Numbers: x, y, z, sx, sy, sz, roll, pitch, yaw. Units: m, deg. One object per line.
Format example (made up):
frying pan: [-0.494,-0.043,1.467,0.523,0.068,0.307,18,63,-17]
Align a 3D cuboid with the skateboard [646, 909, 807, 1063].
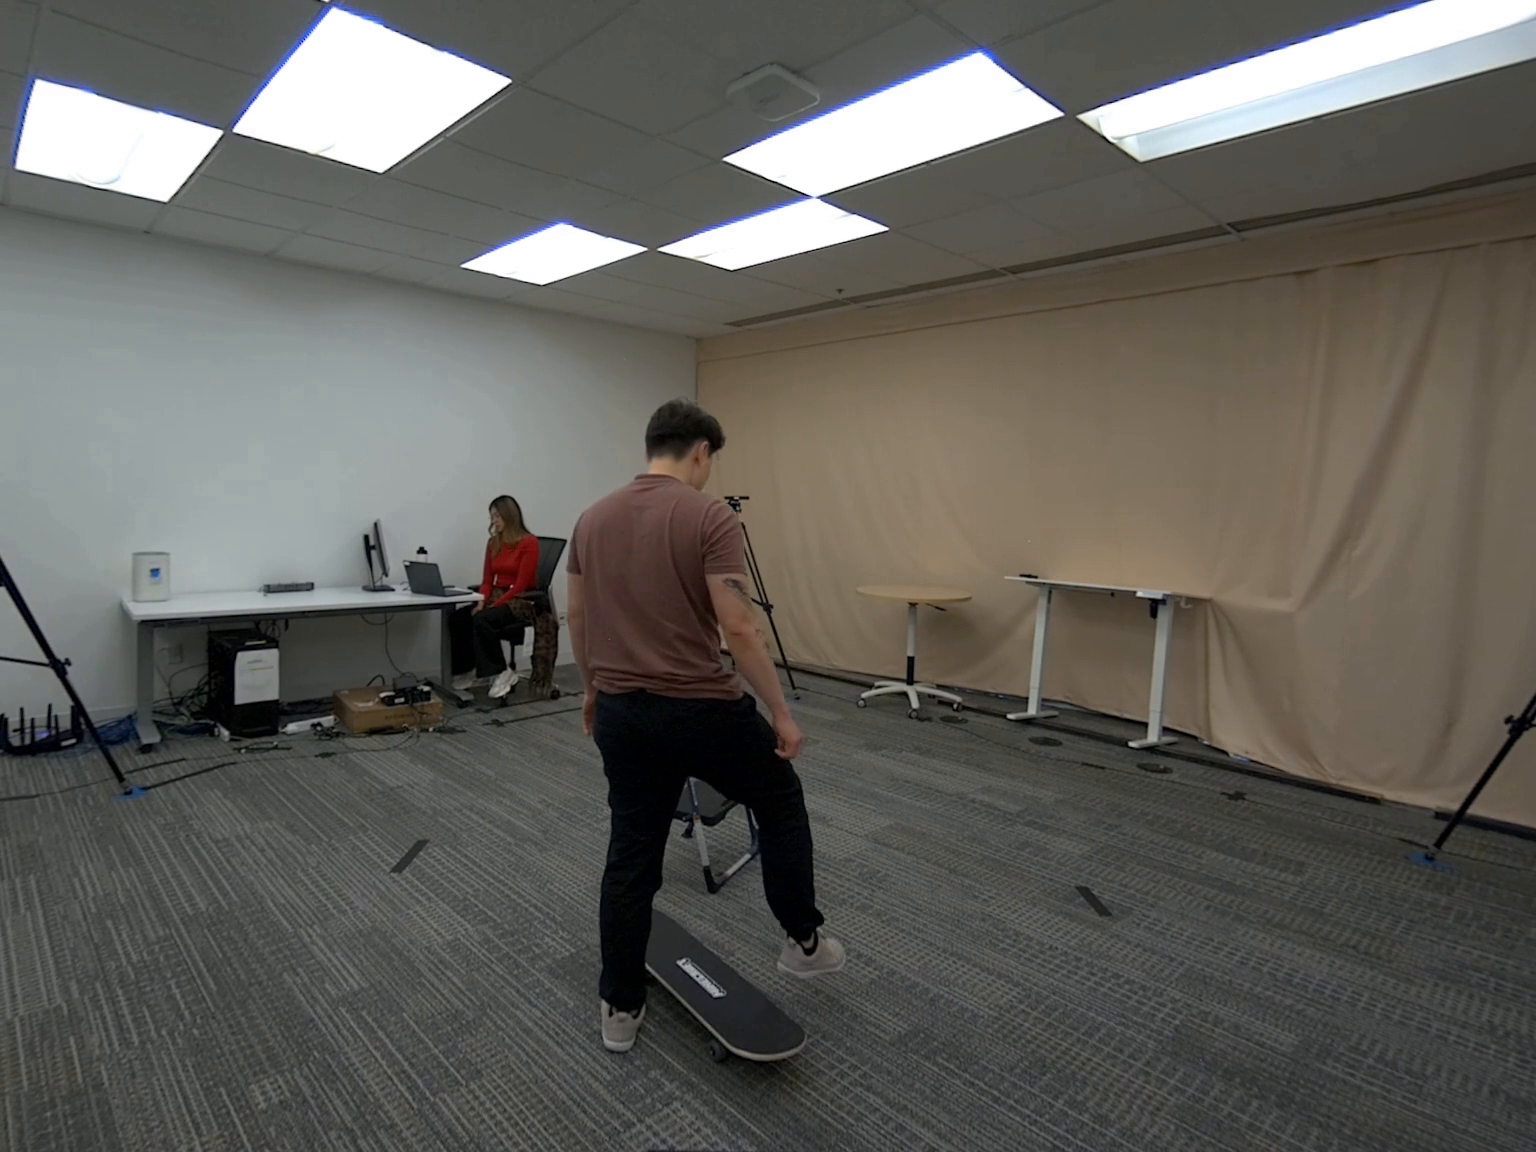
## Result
skateboard: [-0.192,1.128,2.287,0.189,0.110,0.805,-3,7,-36]
